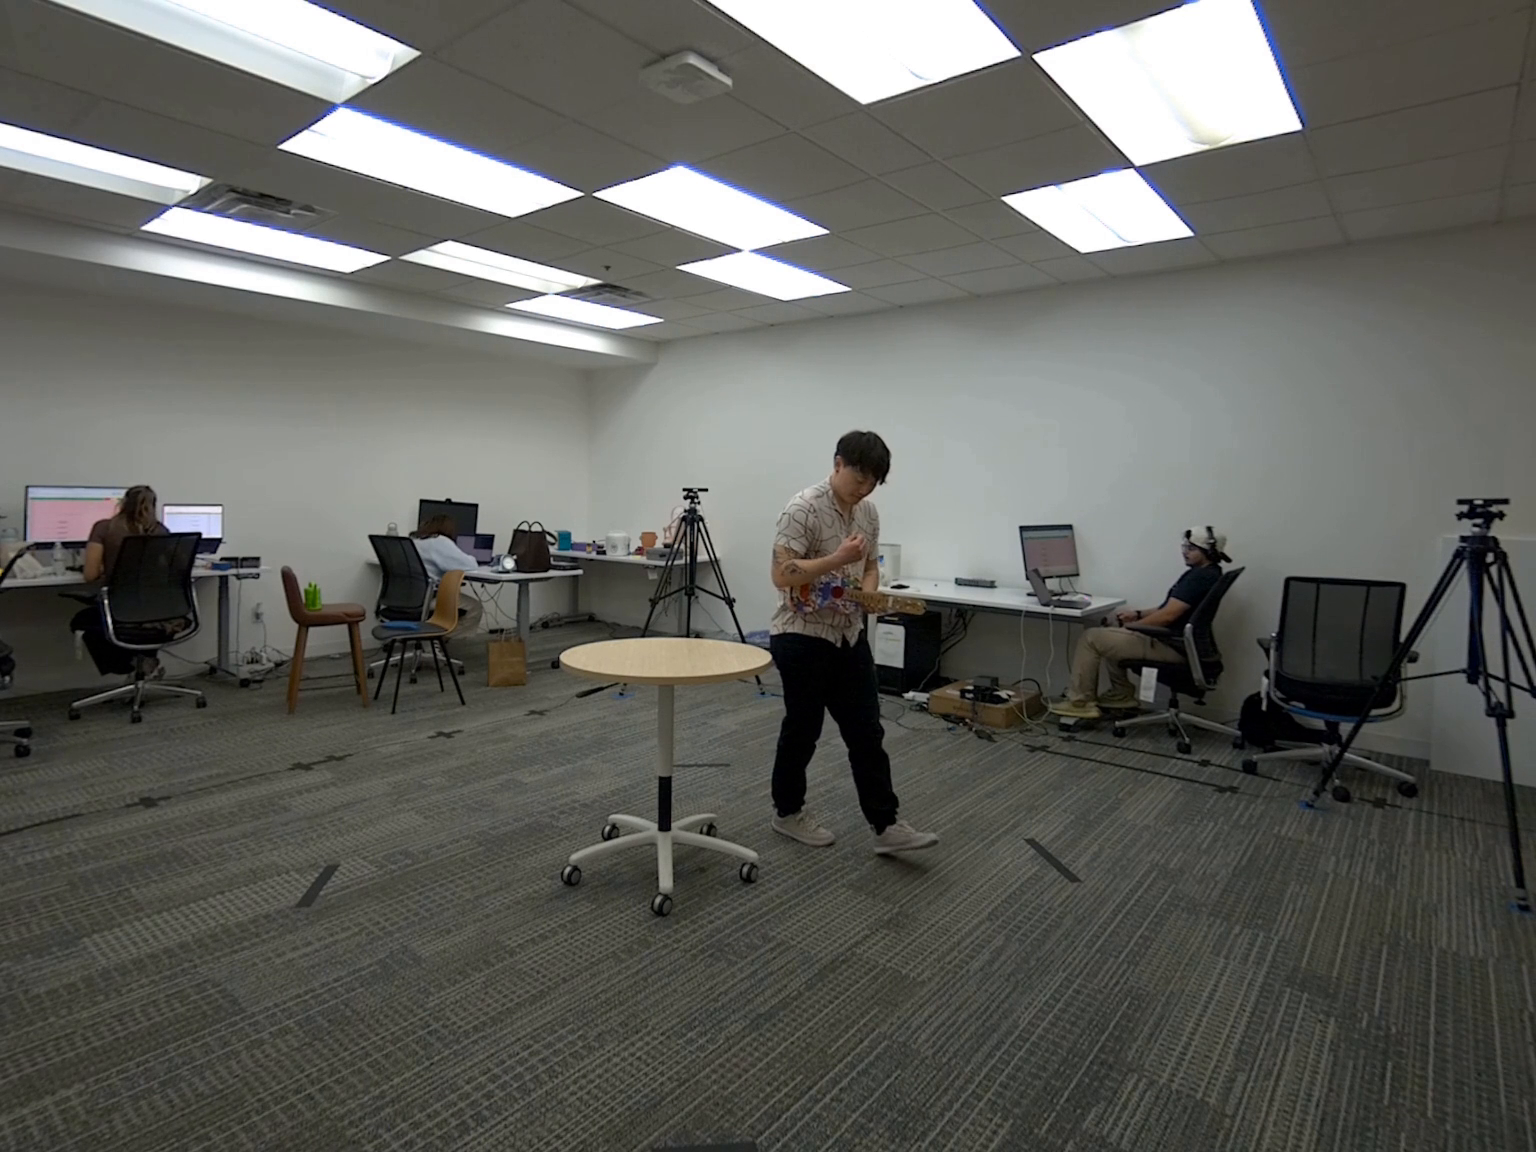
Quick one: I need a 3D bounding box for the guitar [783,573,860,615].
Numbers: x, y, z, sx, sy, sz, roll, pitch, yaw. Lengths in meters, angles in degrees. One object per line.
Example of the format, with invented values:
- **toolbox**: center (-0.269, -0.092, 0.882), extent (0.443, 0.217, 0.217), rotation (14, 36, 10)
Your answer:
- **guitar**: center (0.316, 0.105, 3.146), extent (0.502, 0.193, 0.070), rotation (18, -4, 6)
